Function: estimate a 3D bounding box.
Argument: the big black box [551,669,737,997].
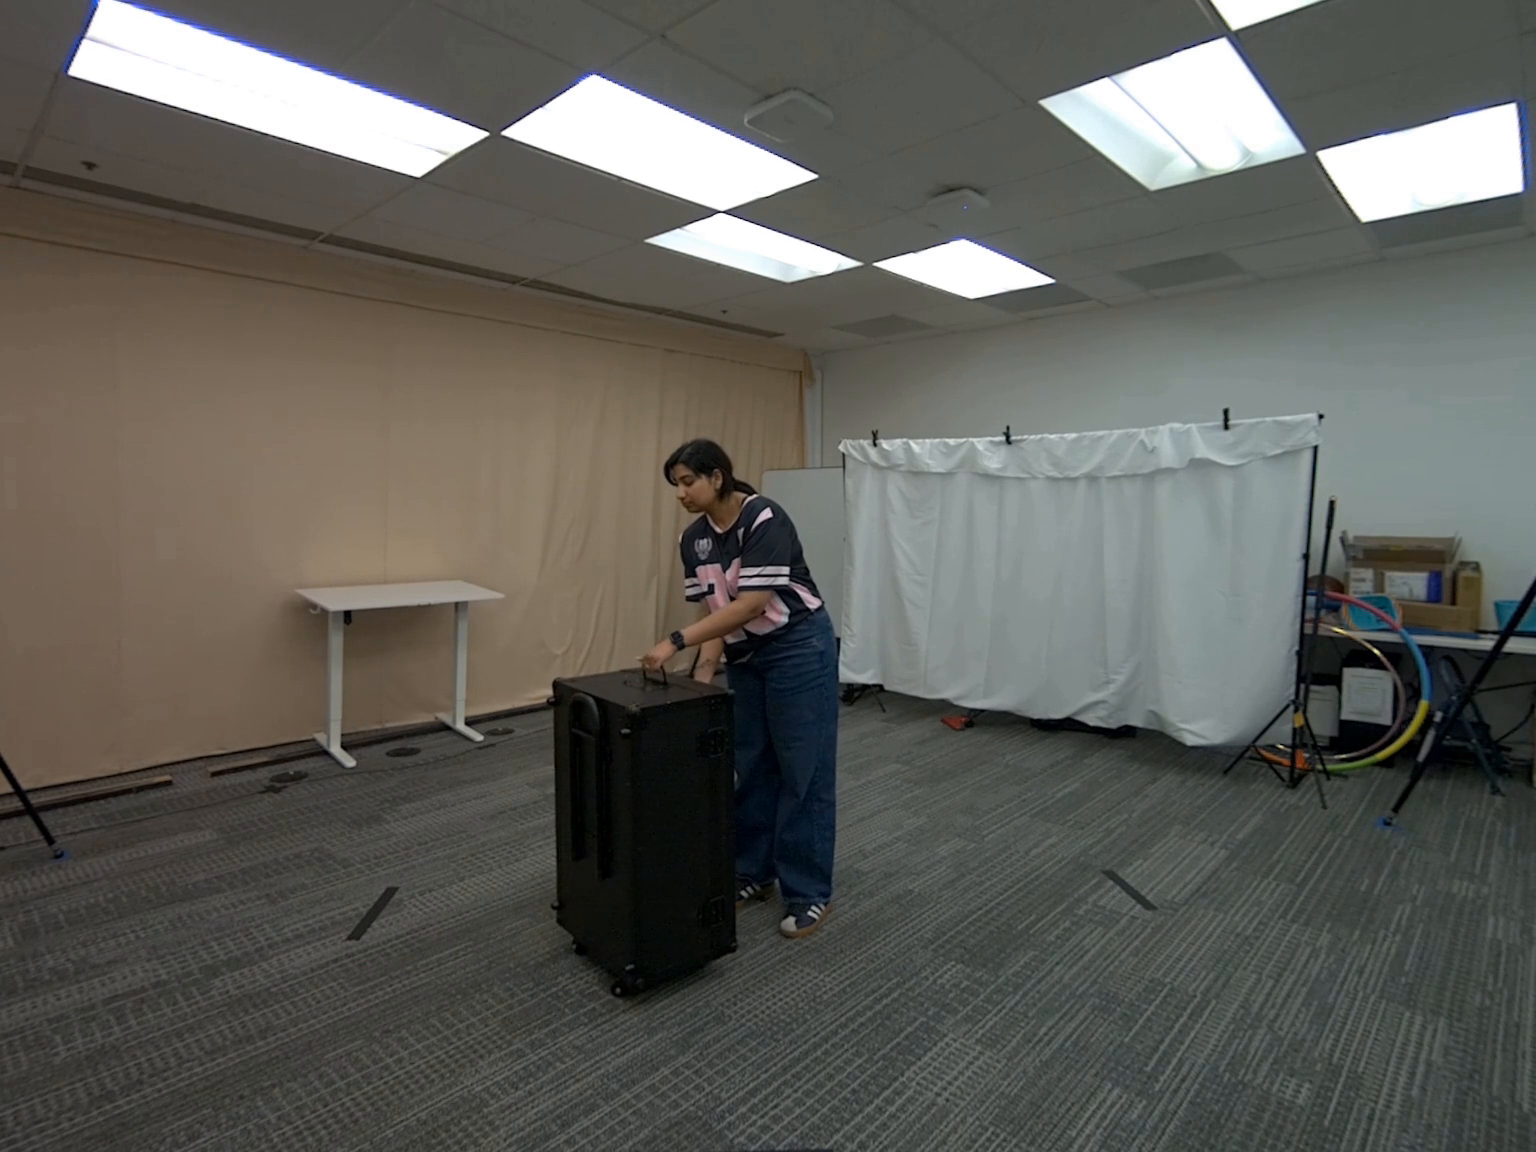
[{"bbox_3d":[-0.384,0.765,2.554,0.373,0.867,0.540,-2,3,-39],"label":"big black box"}]
